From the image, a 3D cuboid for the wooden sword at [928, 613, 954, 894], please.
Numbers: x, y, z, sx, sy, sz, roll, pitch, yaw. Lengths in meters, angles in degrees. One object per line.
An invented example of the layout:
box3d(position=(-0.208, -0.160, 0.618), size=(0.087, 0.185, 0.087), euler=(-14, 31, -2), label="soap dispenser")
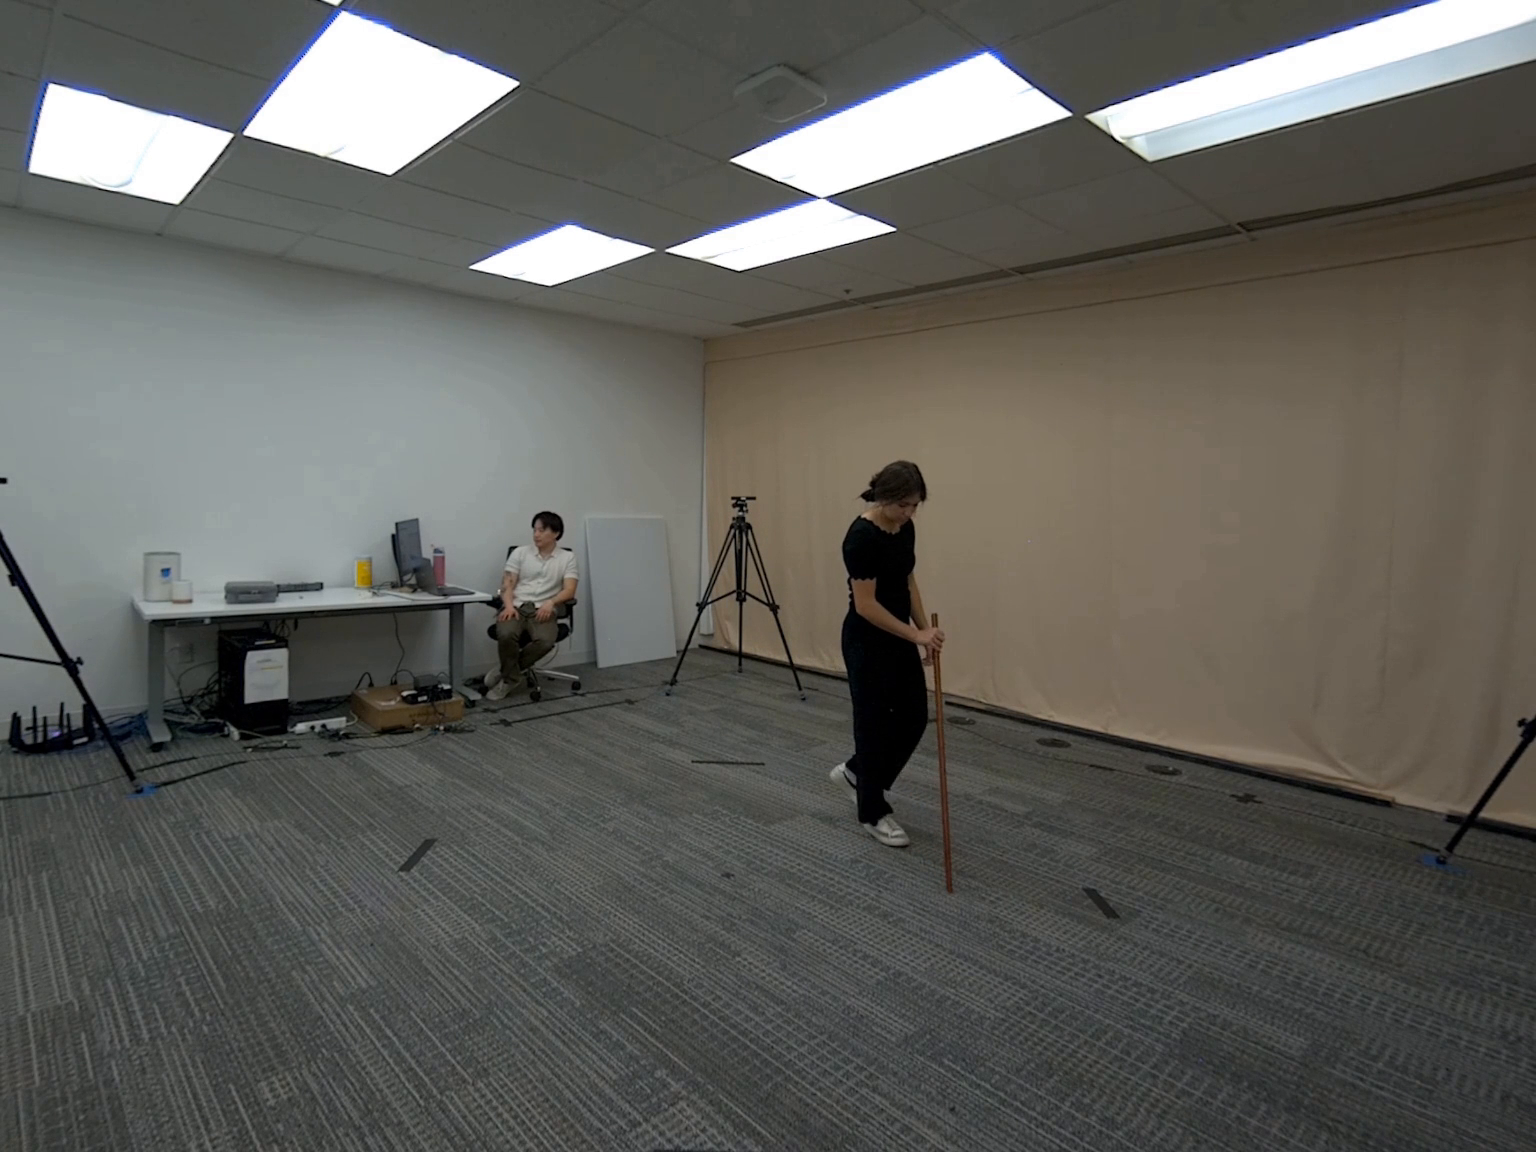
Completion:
box3d(position=(0.649, 0.655, 3.192), size=(0.024, 1.038, 0.051), euler=(1, -18, -5), label="wooden sword")
